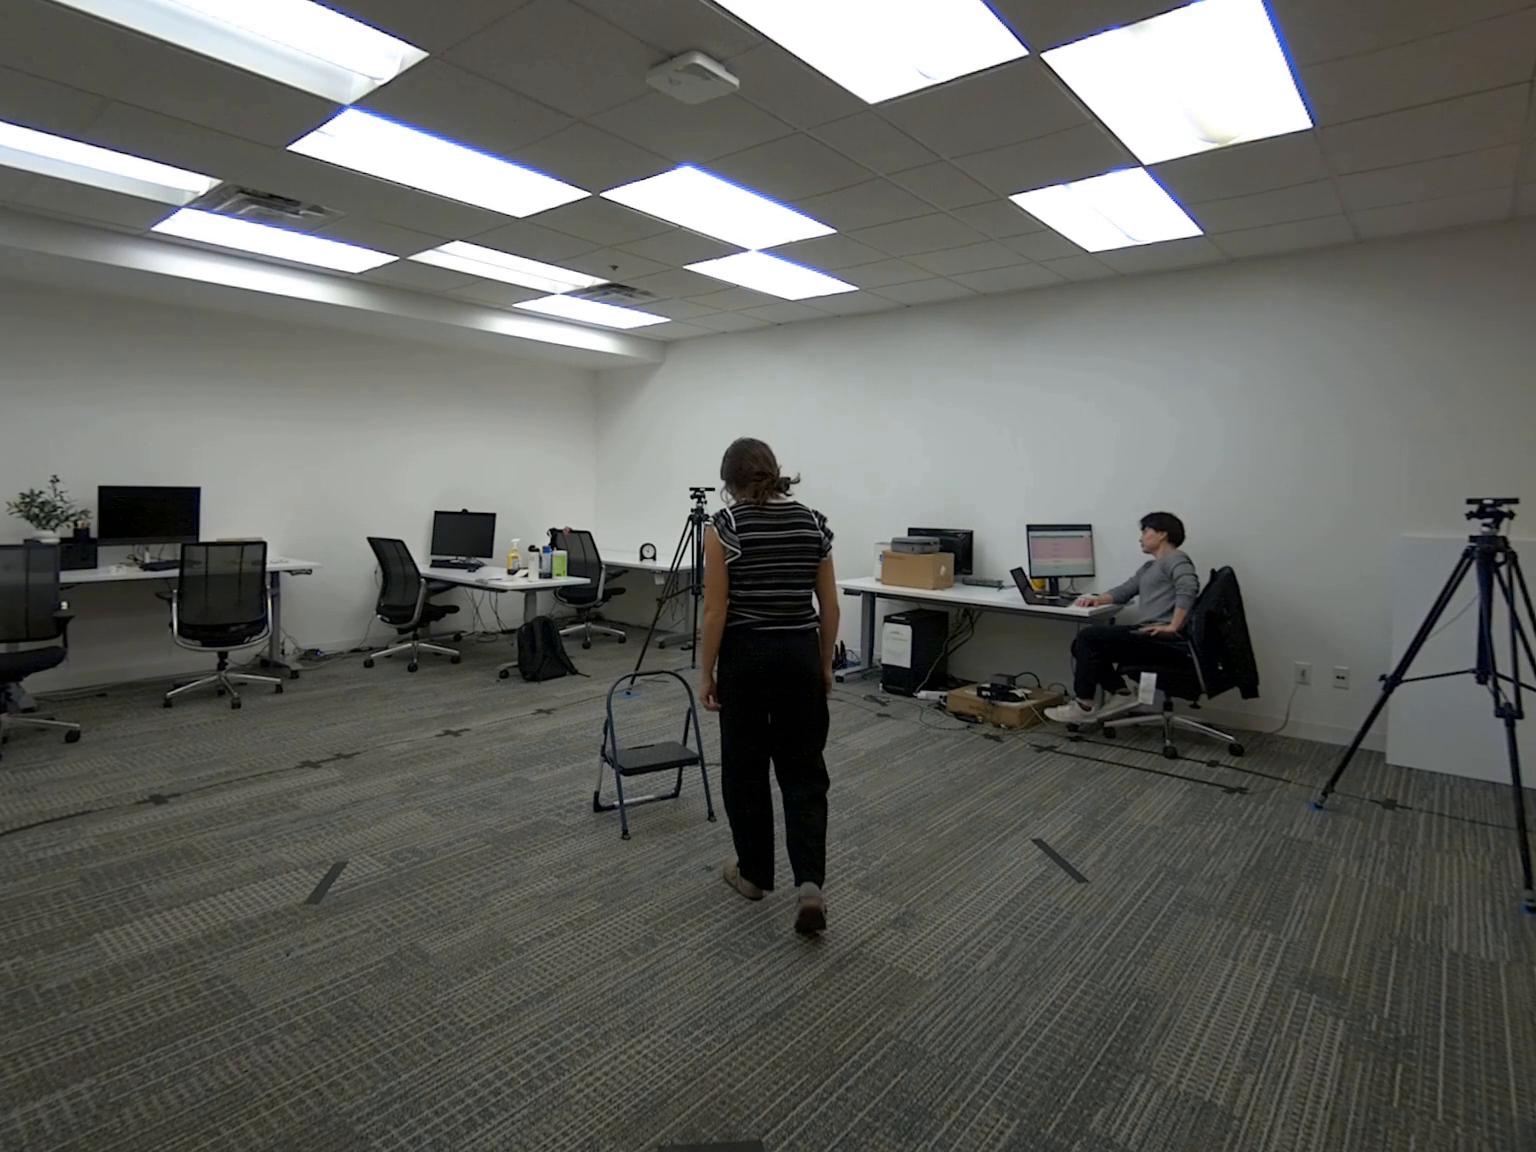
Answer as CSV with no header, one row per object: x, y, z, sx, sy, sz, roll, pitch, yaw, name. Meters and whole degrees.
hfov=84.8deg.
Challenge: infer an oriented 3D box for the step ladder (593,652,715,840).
-0.492,0.712,3.588,0.418,0.604,0.360,-1,4,-33,step ladder
